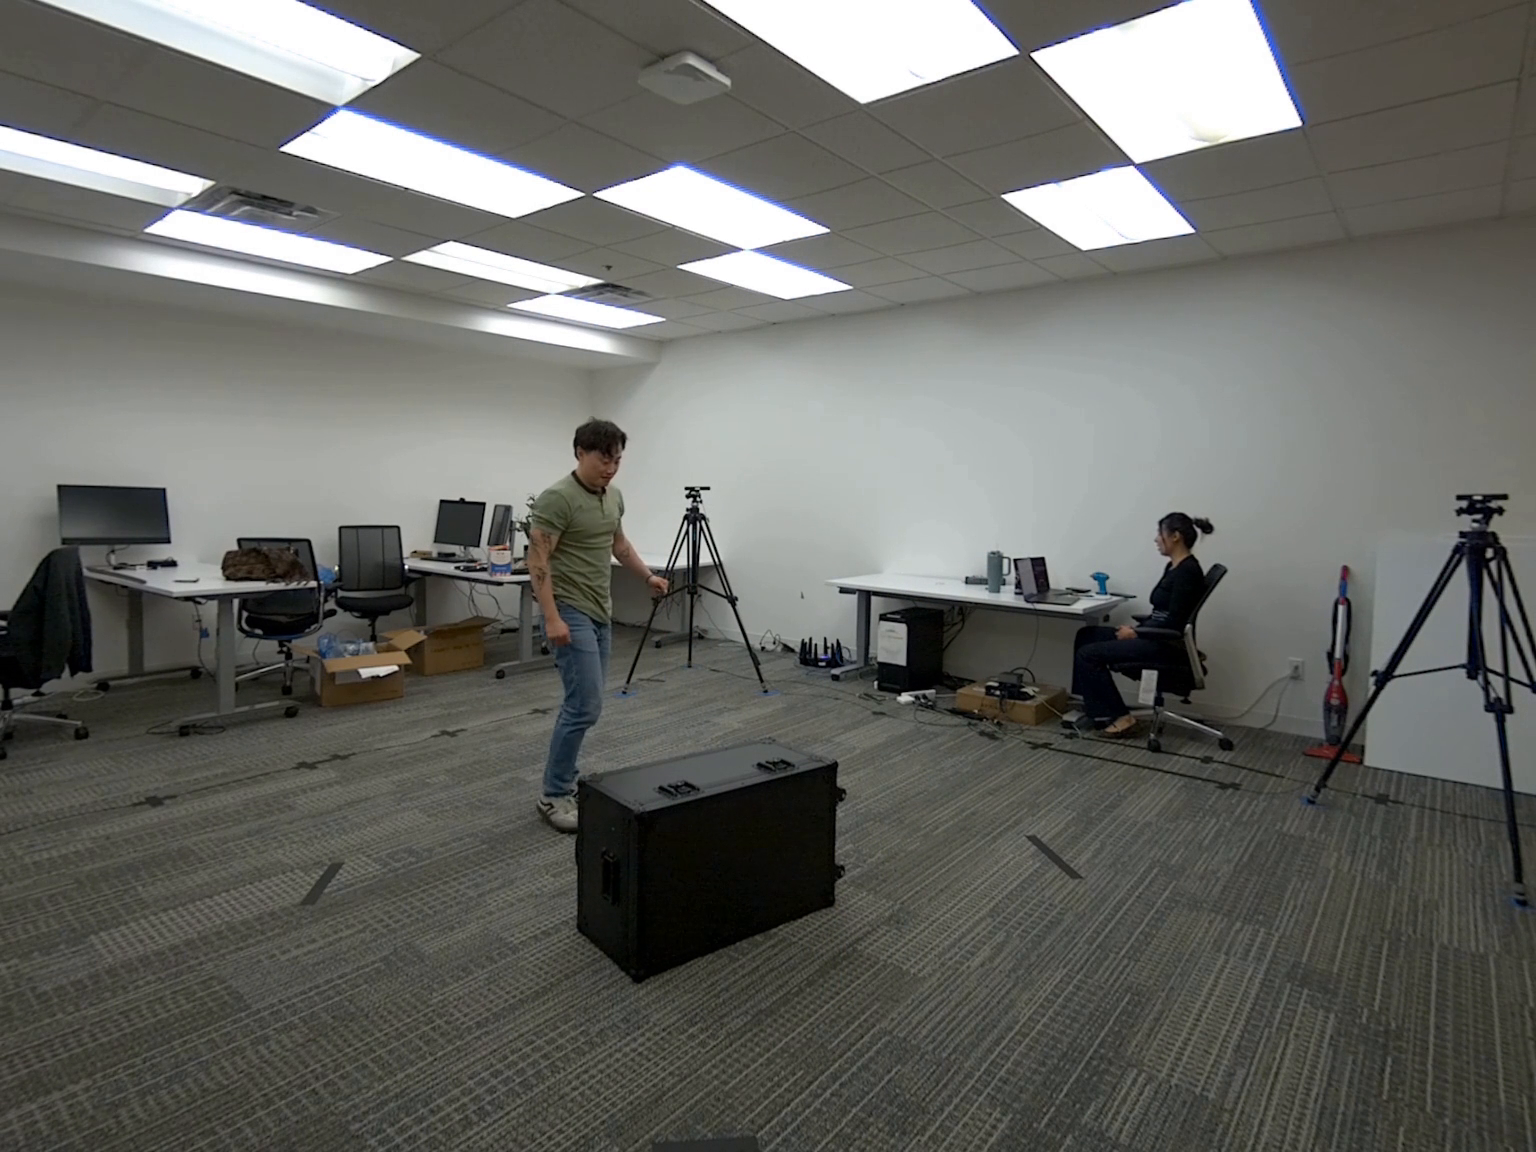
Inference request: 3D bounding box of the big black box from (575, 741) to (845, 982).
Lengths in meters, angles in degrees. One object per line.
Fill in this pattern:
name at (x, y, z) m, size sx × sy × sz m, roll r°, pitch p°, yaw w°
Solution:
big black box at (-0.173, 0.858, 2.765) m, size 0.836 × 0.520 × 0.409 m, roll -3°, pitch 5°, yaw -38°
